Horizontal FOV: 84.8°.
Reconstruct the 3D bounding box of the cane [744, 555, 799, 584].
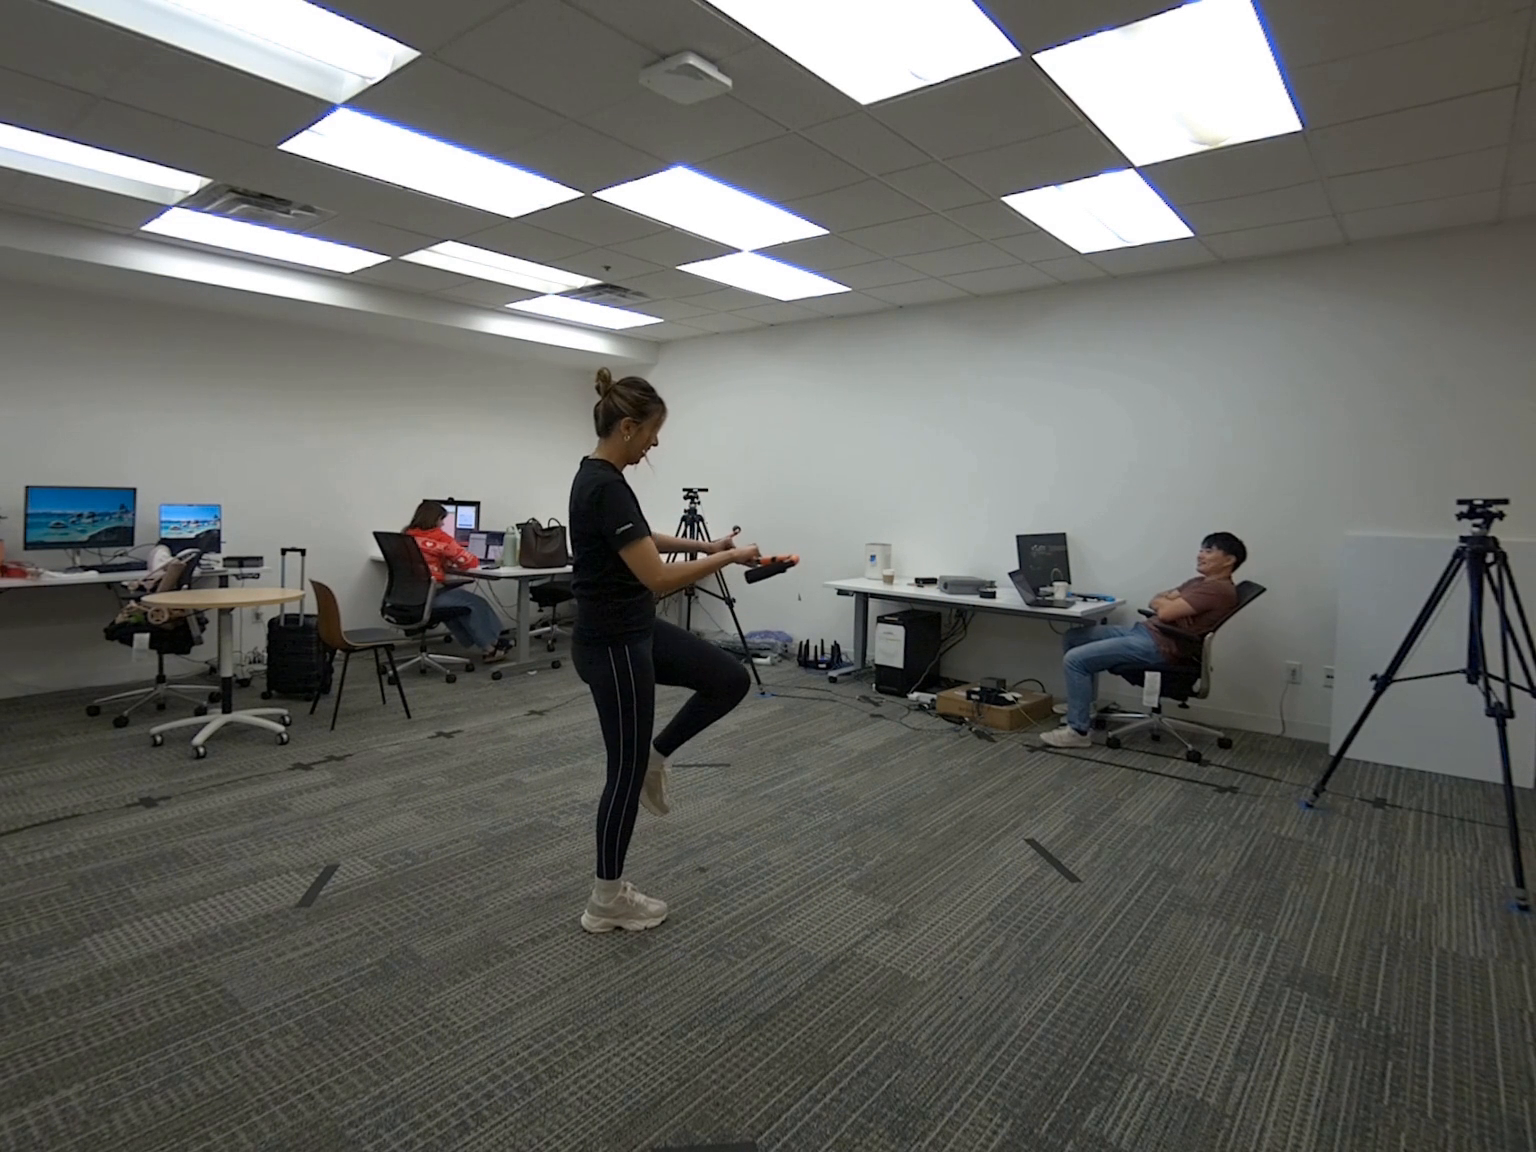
[{"bbox_3d":[-0.083,-0.044,2.665,0.205,0.150,0.923,-18,9,-11],"label":"cane"}]
